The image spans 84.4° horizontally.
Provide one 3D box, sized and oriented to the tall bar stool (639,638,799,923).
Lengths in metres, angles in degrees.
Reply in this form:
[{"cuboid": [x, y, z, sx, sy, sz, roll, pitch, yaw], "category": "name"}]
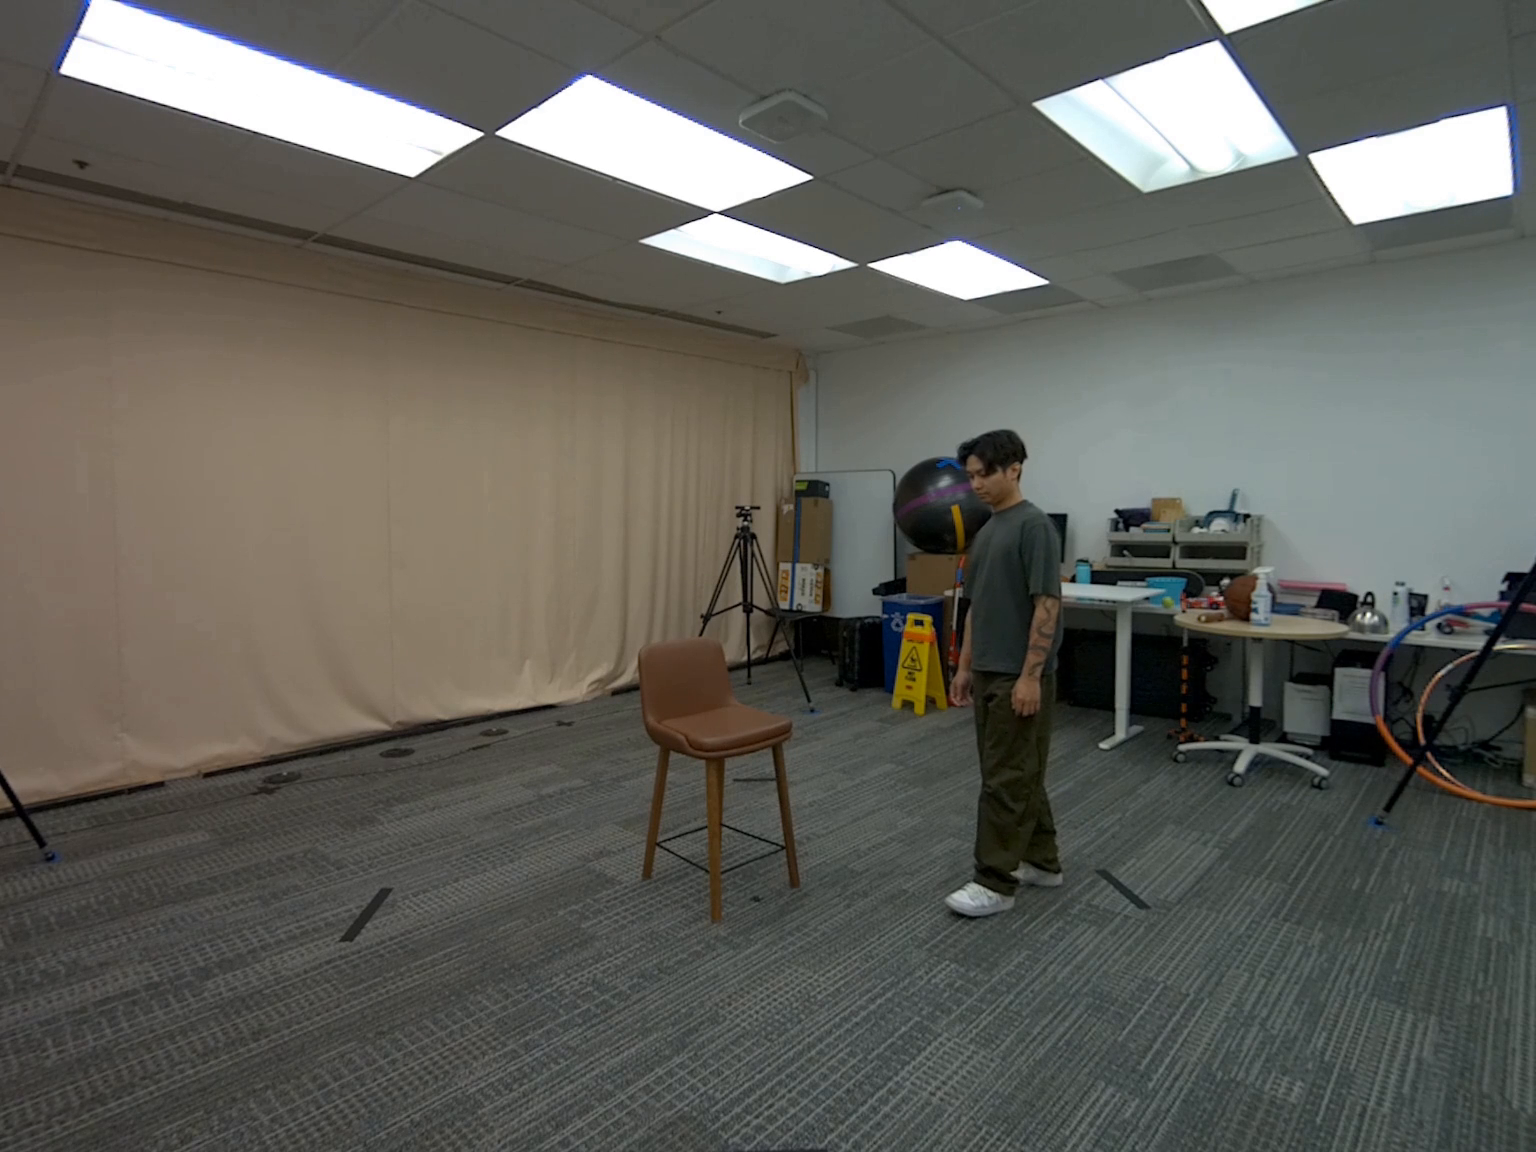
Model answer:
[{"cuboid": [-0.191, 0.703, 3.093, 0.442, 0.889, 0.483, -3, 2, -42], "category": "tall bar stool"}]
